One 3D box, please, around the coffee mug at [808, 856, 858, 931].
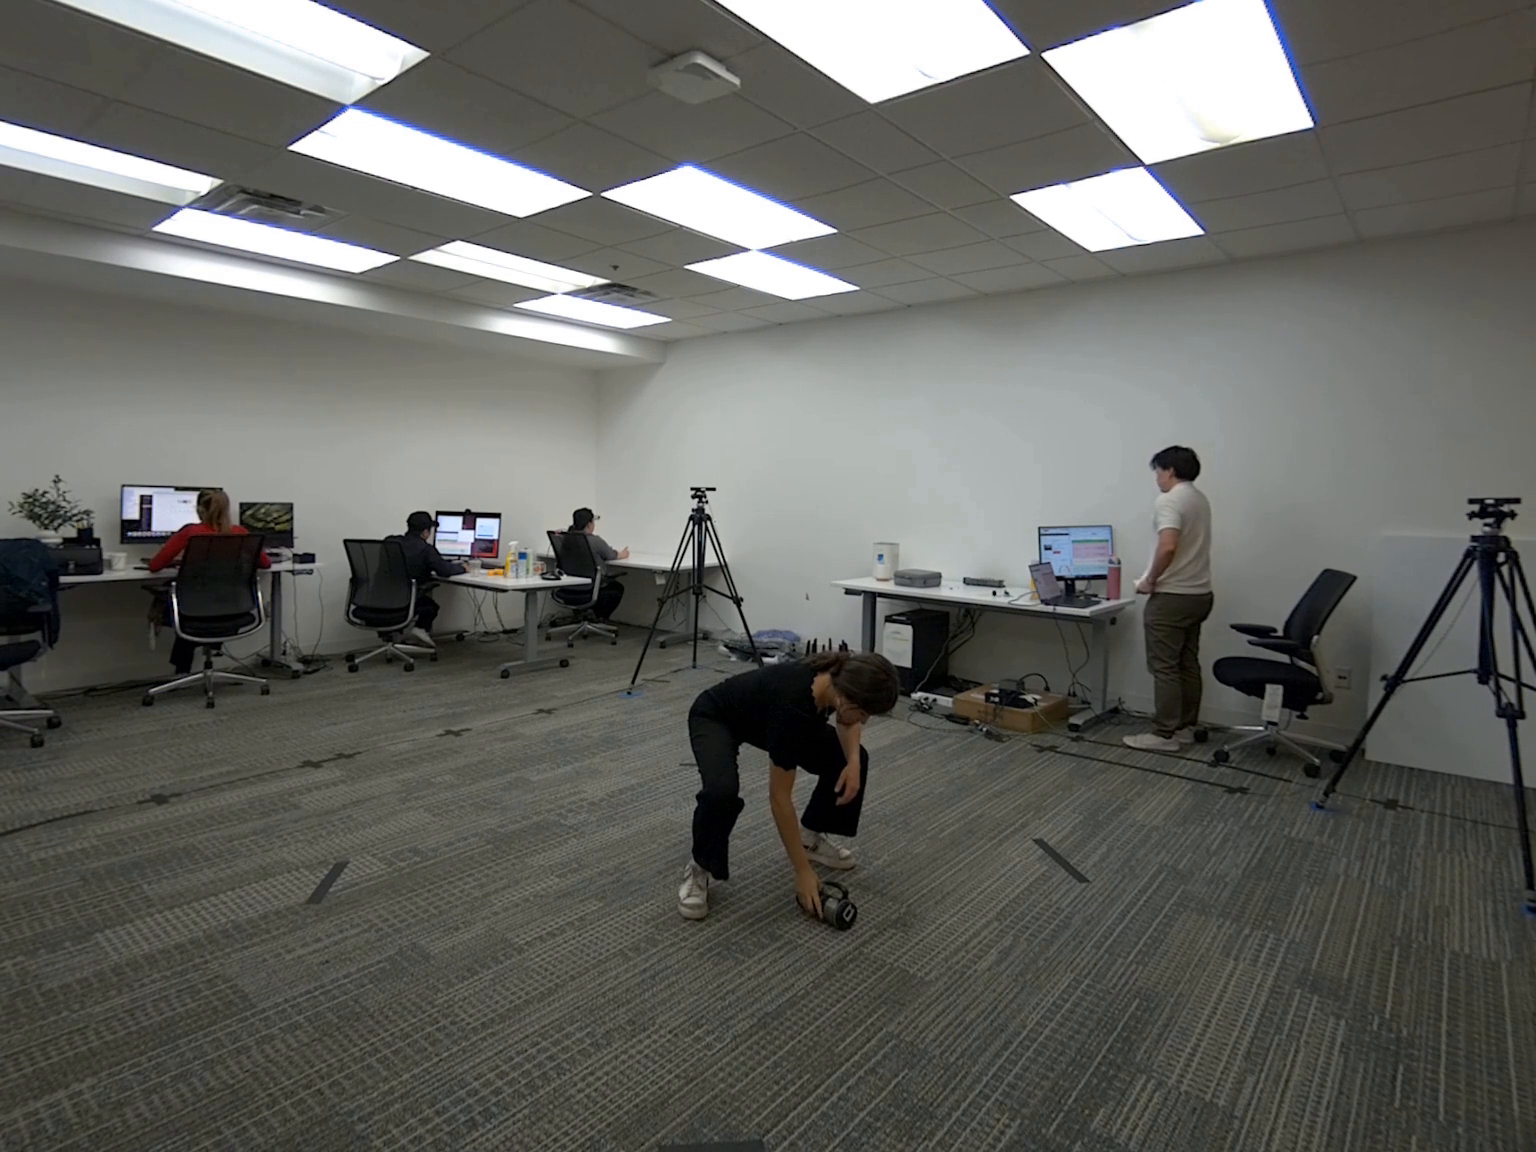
[{"bbox_3d":[0.179,1.057,2.760,0.088,0.118,0.209,-47,26,-20],"label":"coffee mug"}]
